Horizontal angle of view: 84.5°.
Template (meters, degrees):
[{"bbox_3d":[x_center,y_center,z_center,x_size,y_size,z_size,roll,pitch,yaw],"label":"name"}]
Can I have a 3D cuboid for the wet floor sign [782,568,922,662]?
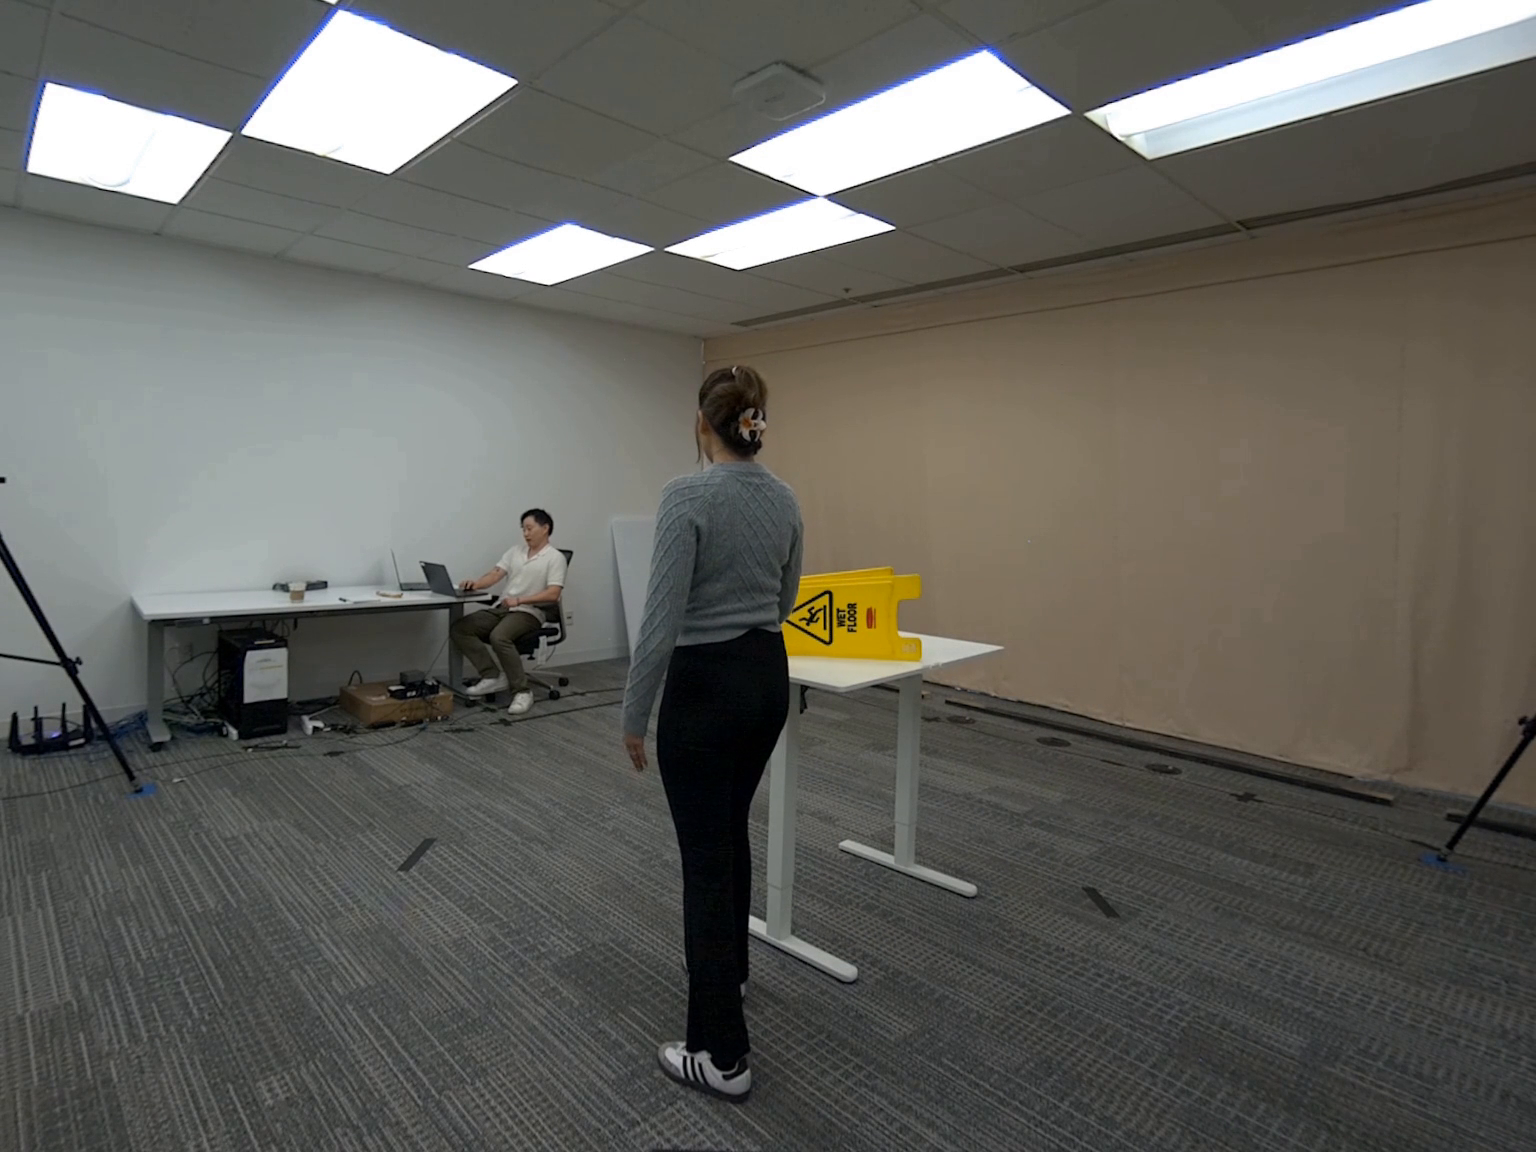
[{"bbox_3d":[0.145,0.132,2.799,0.643,0.281,0.292,-2,5,-6],"label":"wet floor sign"}]
